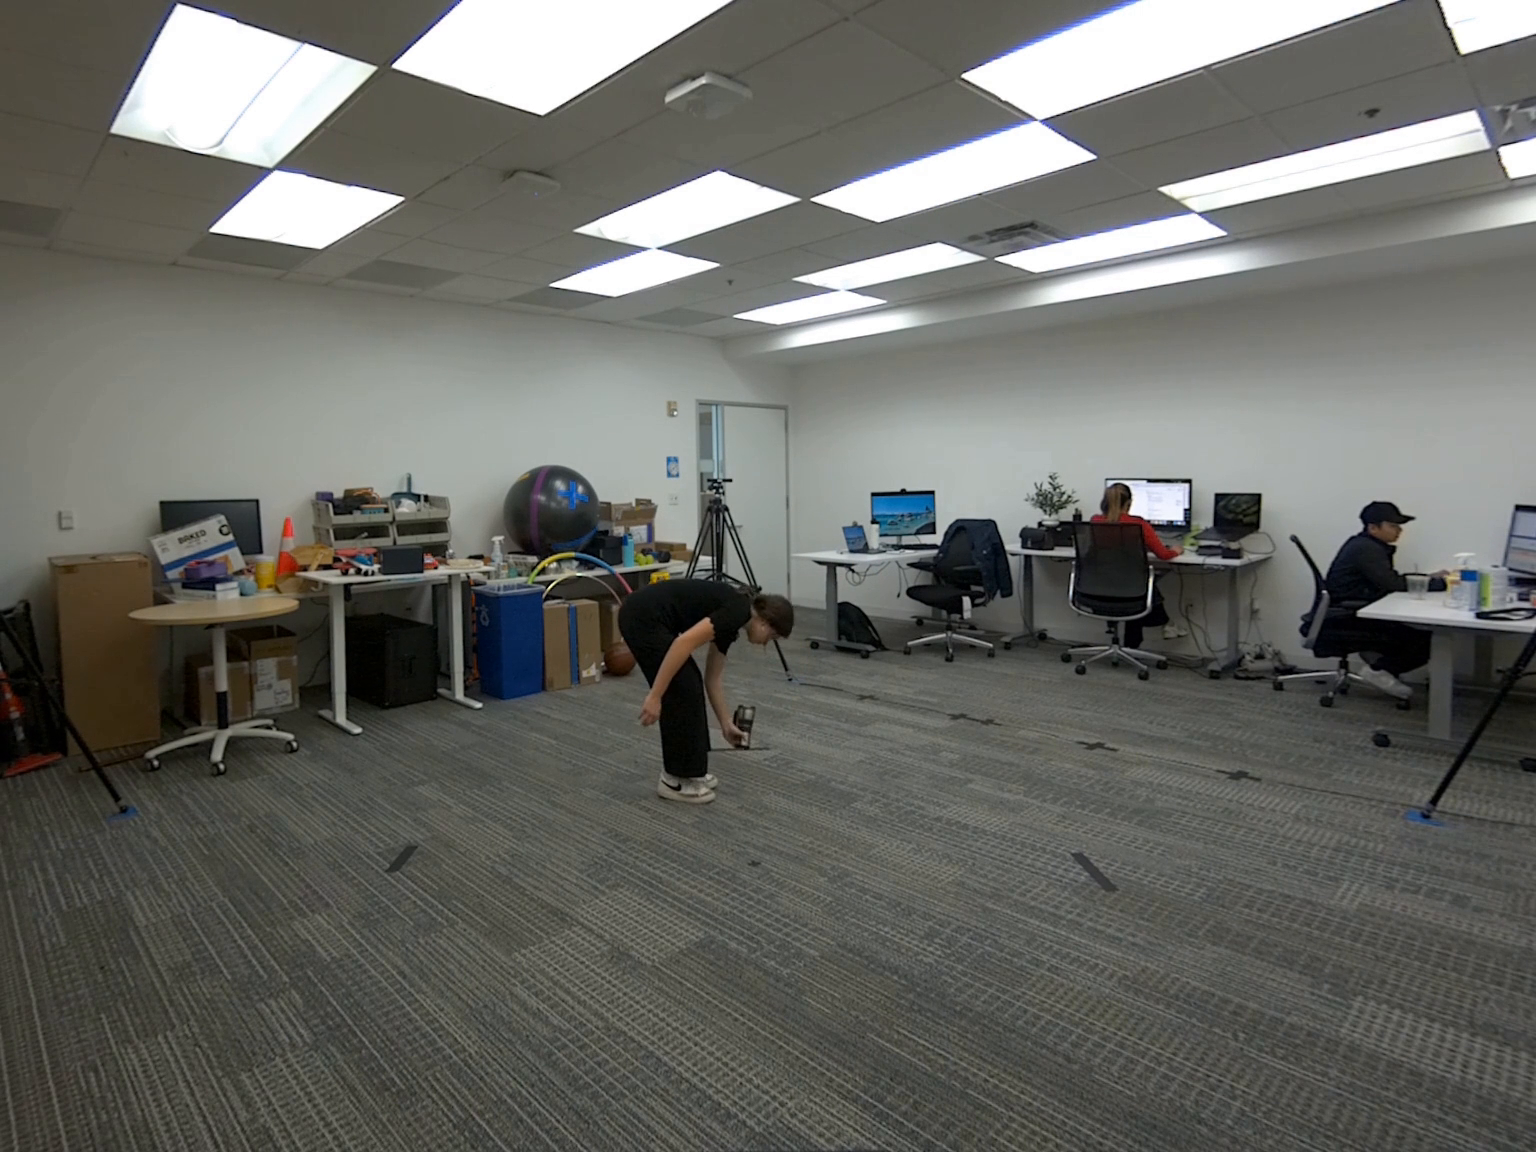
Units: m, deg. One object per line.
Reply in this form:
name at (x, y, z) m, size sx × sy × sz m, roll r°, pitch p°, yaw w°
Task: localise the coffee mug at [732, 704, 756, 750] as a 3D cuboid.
coffee mug at (-0.124, 0.720, 4.105) m, size 0.086 × 0.205 × 0.123 m, roll 14°, pitch -17°, yaw -23°
